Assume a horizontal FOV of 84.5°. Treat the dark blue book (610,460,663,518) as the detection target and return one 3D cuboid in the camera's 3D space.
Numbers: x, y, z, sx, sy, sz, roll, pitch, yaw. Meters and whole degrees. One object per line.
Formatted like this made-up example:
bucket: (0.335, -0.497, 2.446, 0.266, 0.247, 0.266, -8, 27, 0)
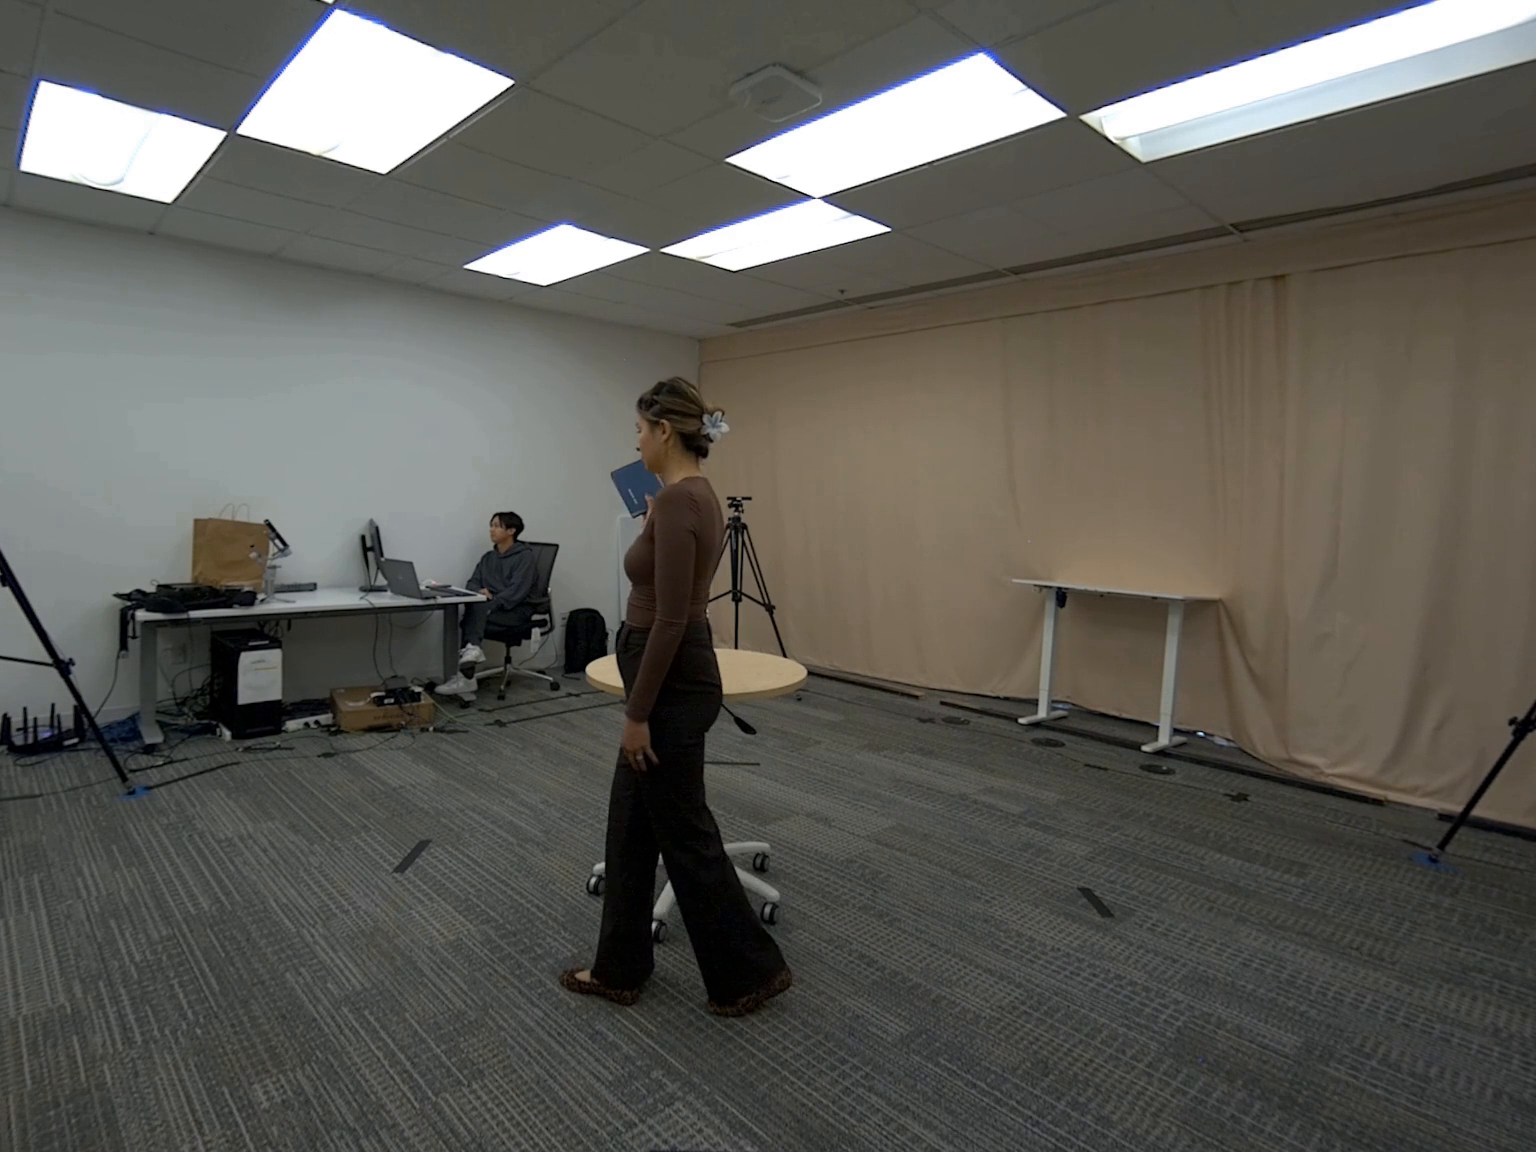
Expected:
dark blue book: (-0.357, -0.306, 2.654, 0.244, 0.166, 0.044, -25, -19, -8)
